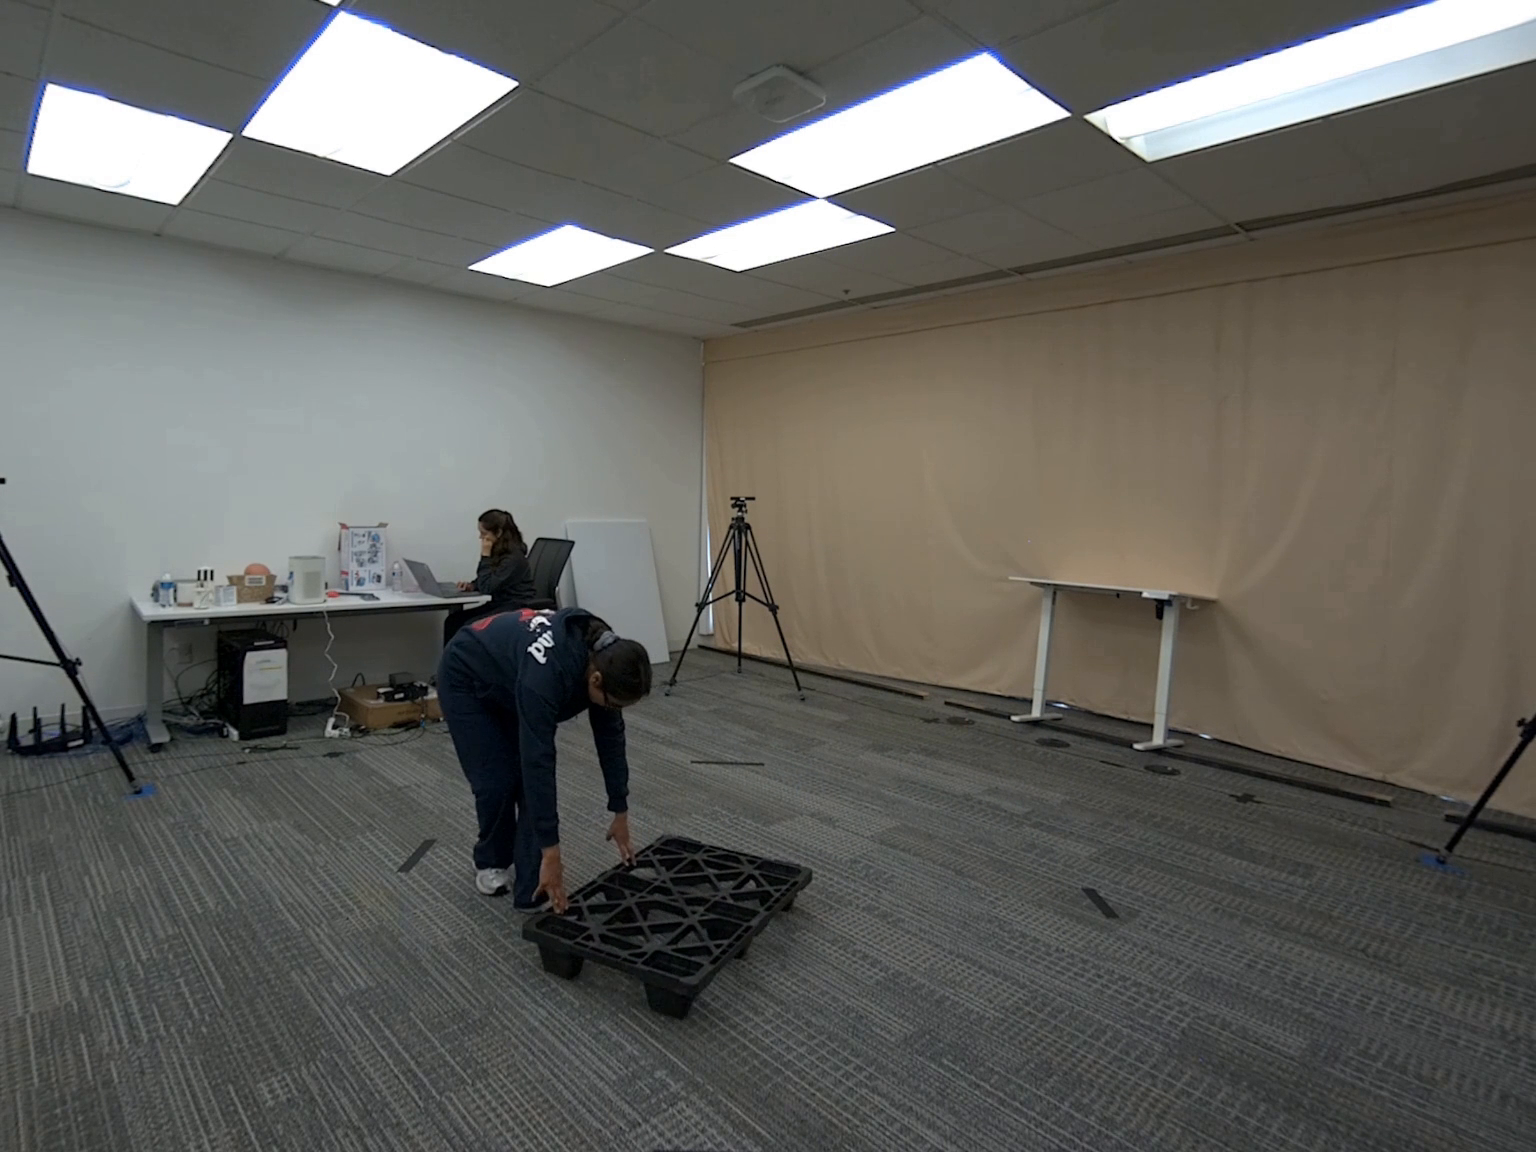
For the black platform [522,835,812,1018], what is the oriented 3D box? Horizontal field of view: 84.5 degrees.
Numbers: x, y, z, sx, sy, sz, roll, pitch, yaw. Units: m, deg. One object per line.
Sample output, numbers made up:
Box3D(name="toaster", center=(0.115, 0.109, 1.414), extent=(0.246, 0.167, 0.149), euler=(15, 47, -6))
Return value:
Box3D(name="black platform", center=(-0.290, 1.078, 2.659), extent=(0.617, 0.143, 0.792), euler=(3, 5, 26))
